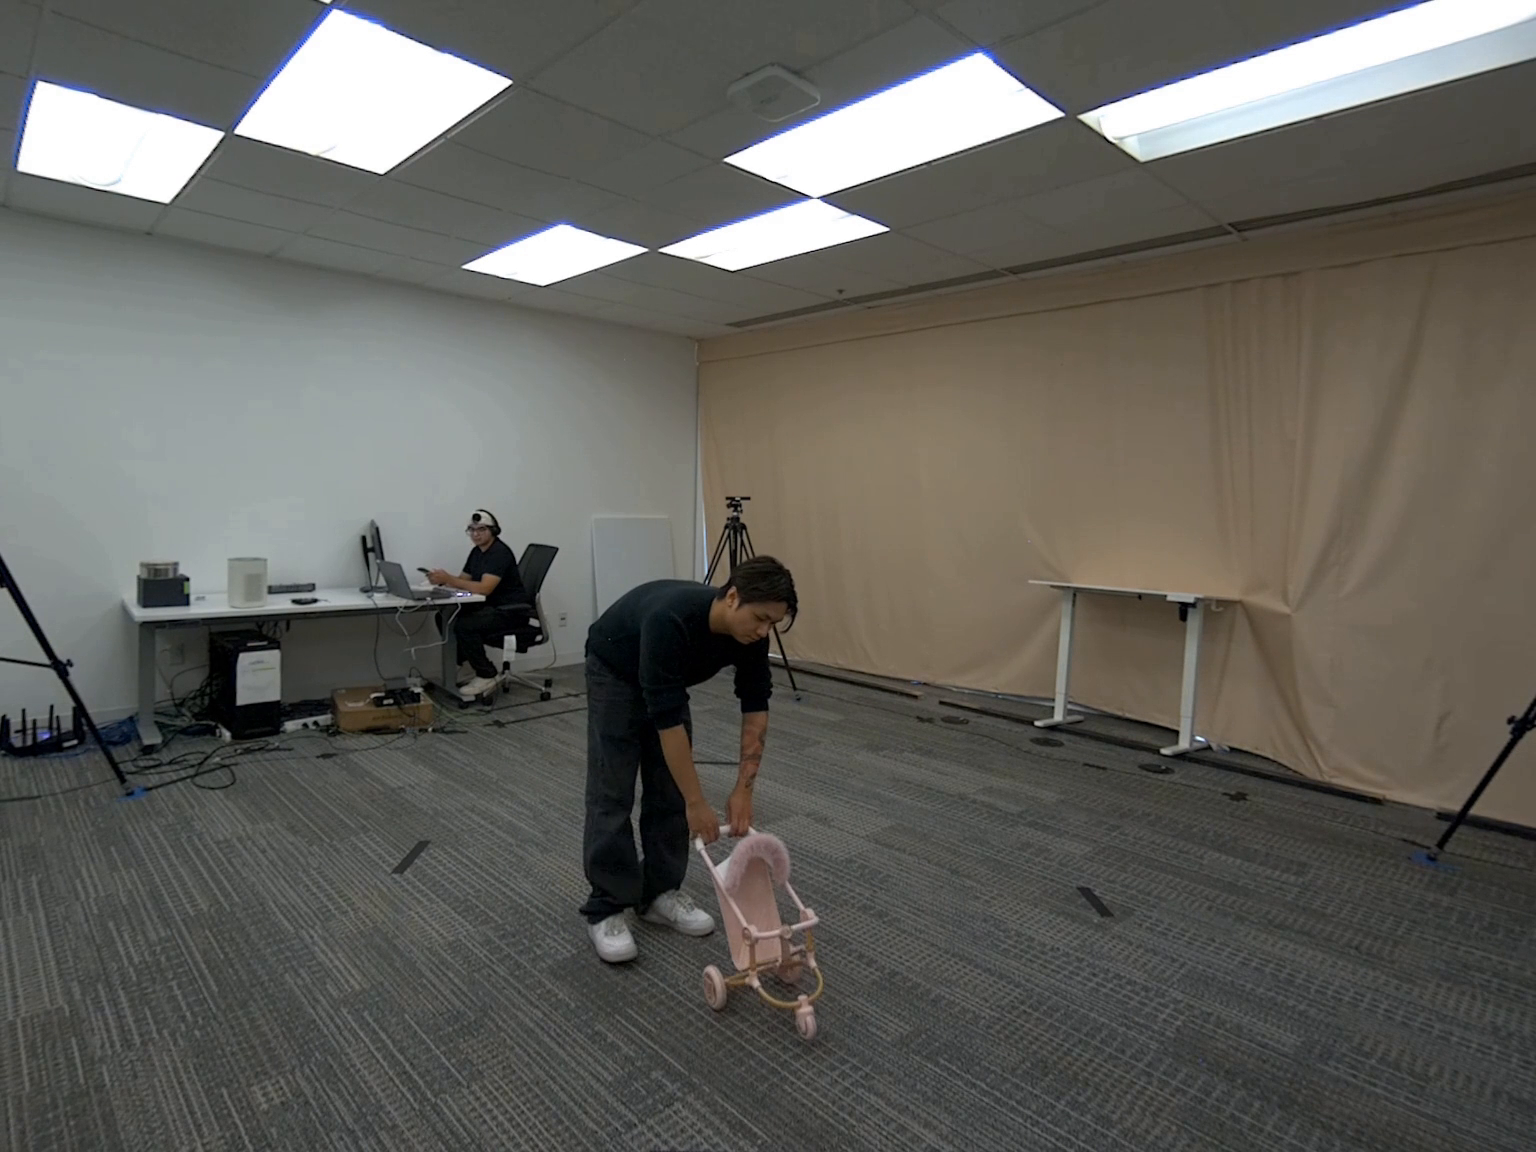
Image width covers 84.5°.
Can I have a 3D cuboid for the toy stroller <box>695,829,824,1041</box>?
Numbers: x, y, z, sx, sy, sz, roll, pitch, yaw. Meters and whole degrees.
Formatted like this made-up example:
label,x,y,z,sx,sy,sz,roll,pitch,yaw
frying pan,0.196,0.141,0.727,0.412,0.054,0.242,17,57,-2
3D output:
label,x,y,z,sx,sy,sz,roll,pitch,yaw
toy stroller,-0.020,0.953,2.314,0.276,0.542,0.344,-1,-17,-30
